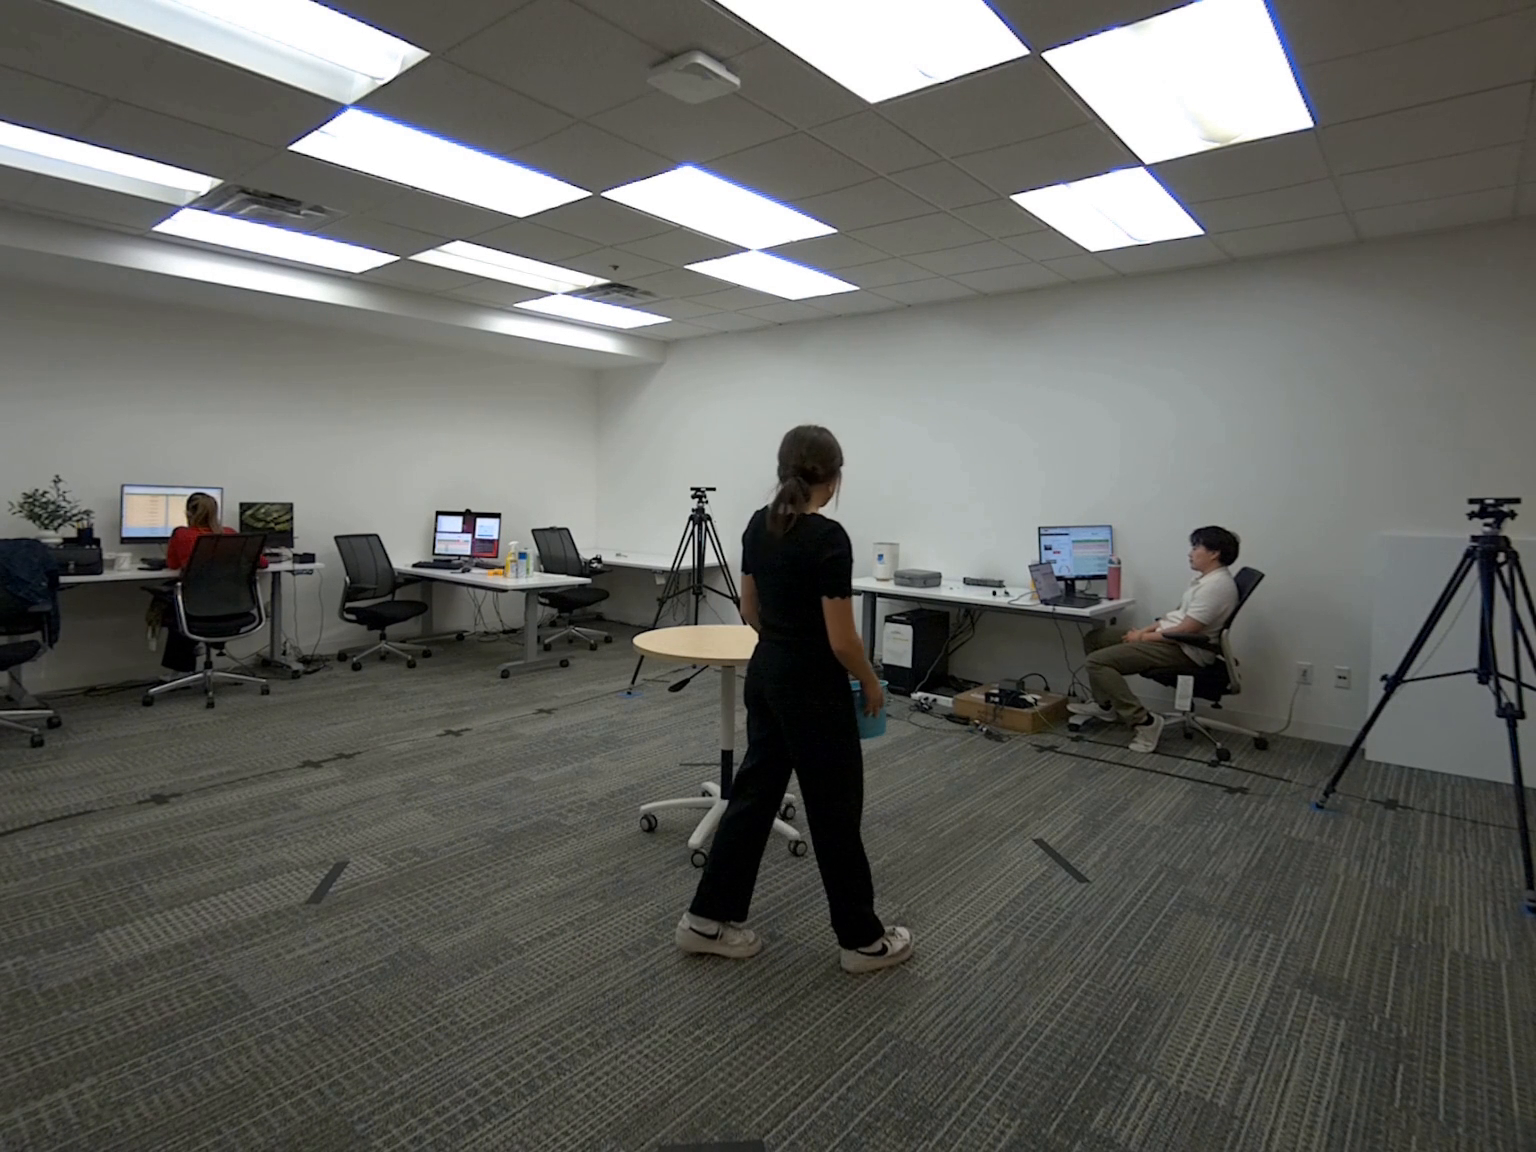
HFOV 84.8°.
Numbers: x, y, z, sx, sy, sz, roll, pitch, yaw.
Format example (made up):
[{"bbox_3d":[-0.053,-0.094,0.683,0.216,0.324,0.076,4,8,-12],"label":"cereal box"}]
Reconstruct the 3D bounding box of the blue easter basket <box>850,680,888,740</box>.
[{"bbox_3d":[0.245,0.417,2.619,0.243,0.156,0.243,-5,-1,-2],"label":"blue easter basket"}]
